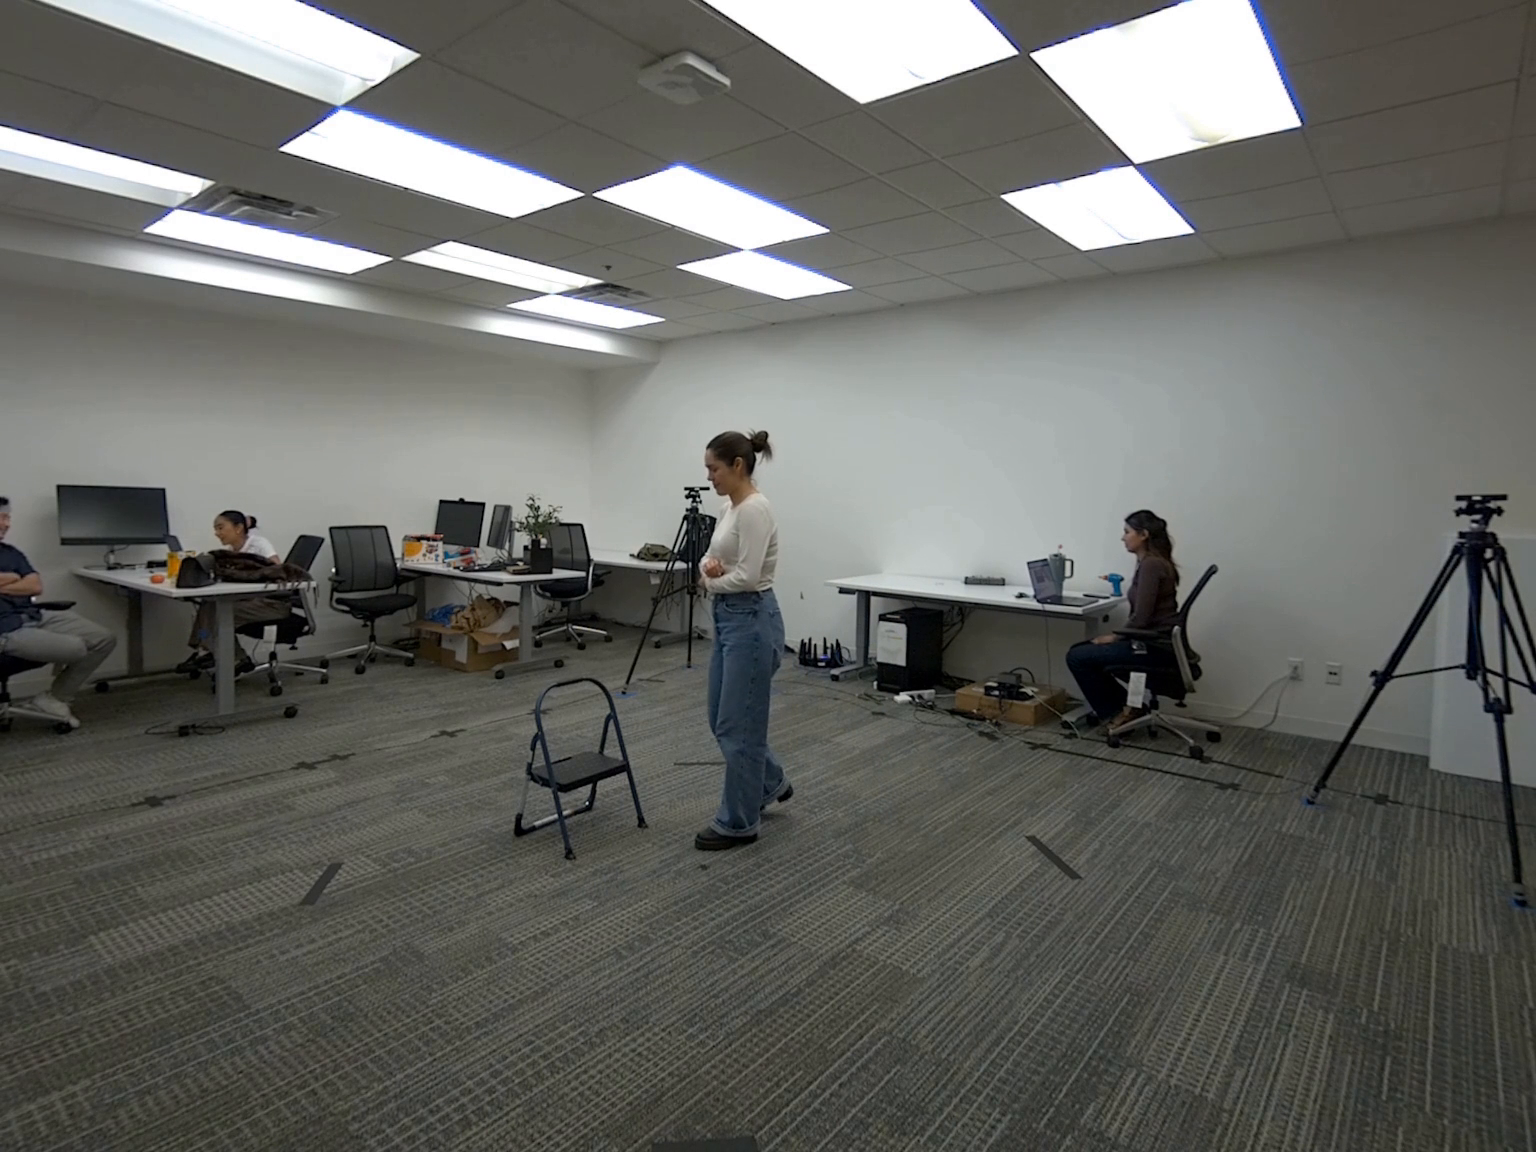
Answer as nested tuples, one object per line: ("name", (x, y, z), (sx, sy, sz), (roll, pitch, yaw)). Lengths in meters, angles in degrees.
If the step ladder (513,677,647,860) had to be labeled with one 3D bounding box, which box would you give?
("step ladder", (-0.763, 0.726, 3.422), (0.360, 0.605, 0.418), (3, 4, 37))
